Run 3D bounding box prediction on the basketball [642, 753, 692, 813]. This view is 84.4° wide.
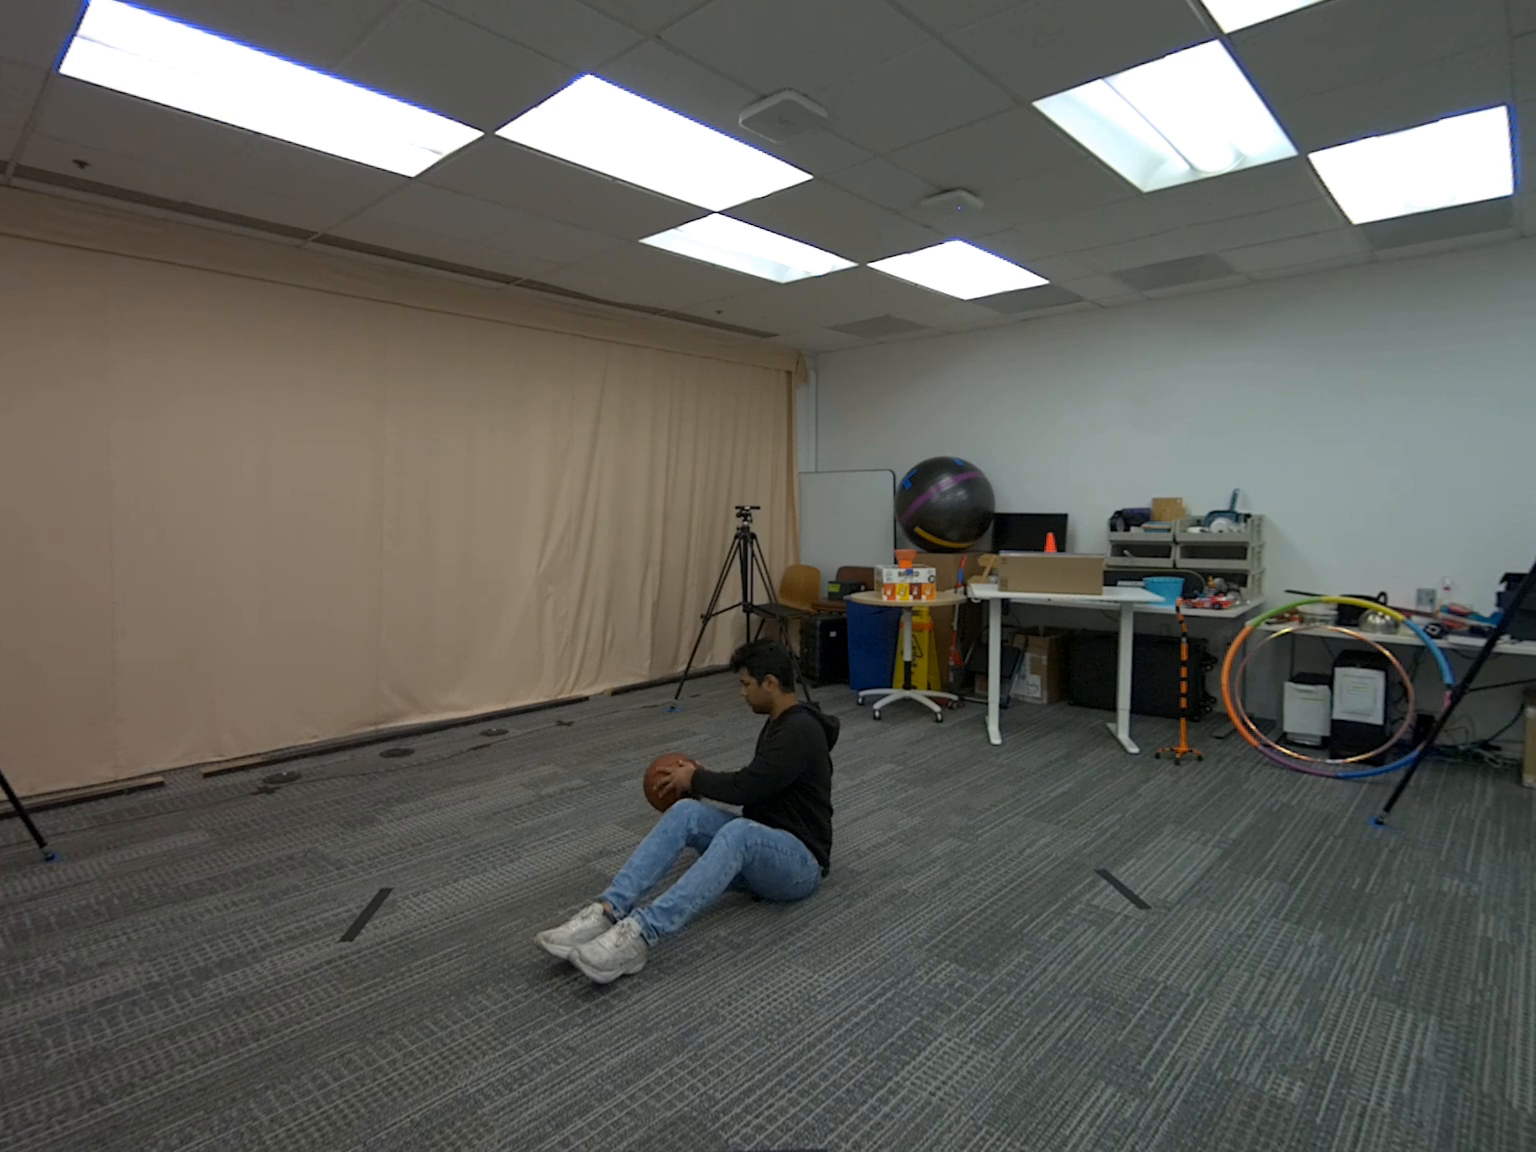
[{"bbox_3d":[-0.368,0.824,3.323,0.236,0.235,0.237,0,4,-2],"label":"basketball"}]
